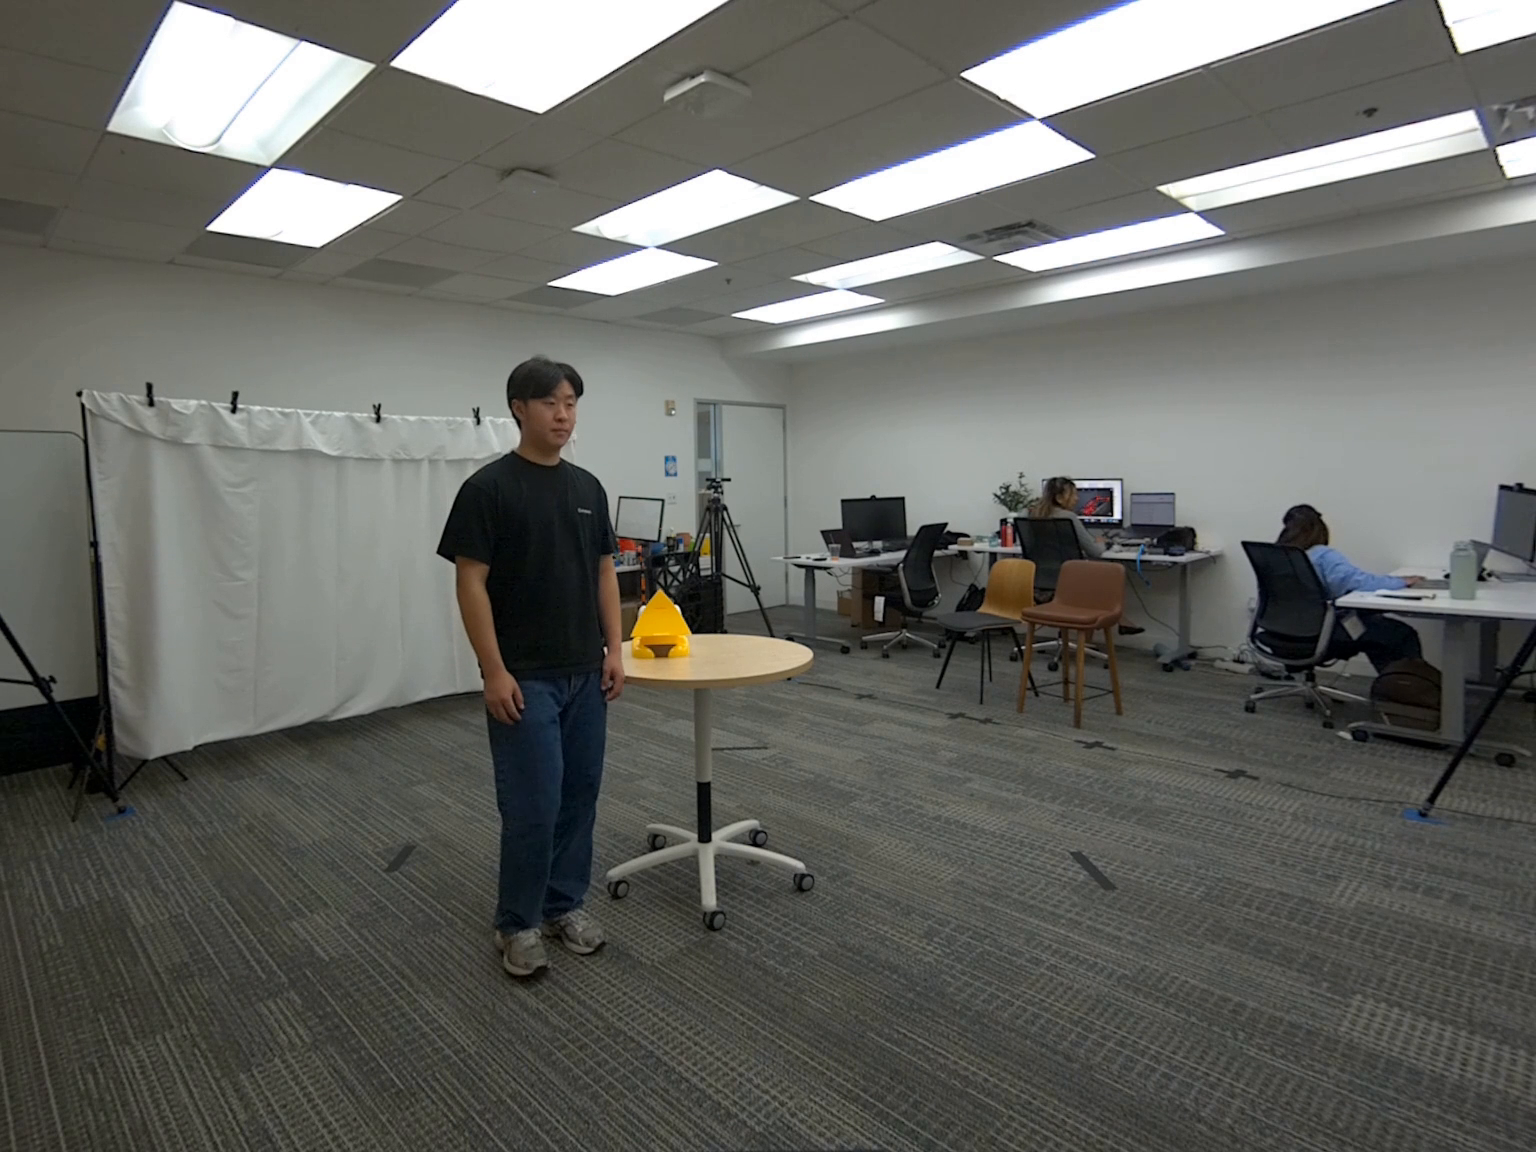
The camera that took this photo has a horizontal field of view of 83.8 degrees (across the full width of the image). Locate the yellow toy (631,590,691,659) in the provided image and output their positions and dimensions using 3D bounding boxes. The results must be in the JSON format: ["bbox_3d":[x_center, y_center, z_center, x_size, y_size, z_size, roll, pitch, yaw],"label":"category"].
[{"bbox_3d":[-0.371,0.154,2.947,0.203,0.230,0.195,-2,5,-8],"label":"yellow toy"}]
